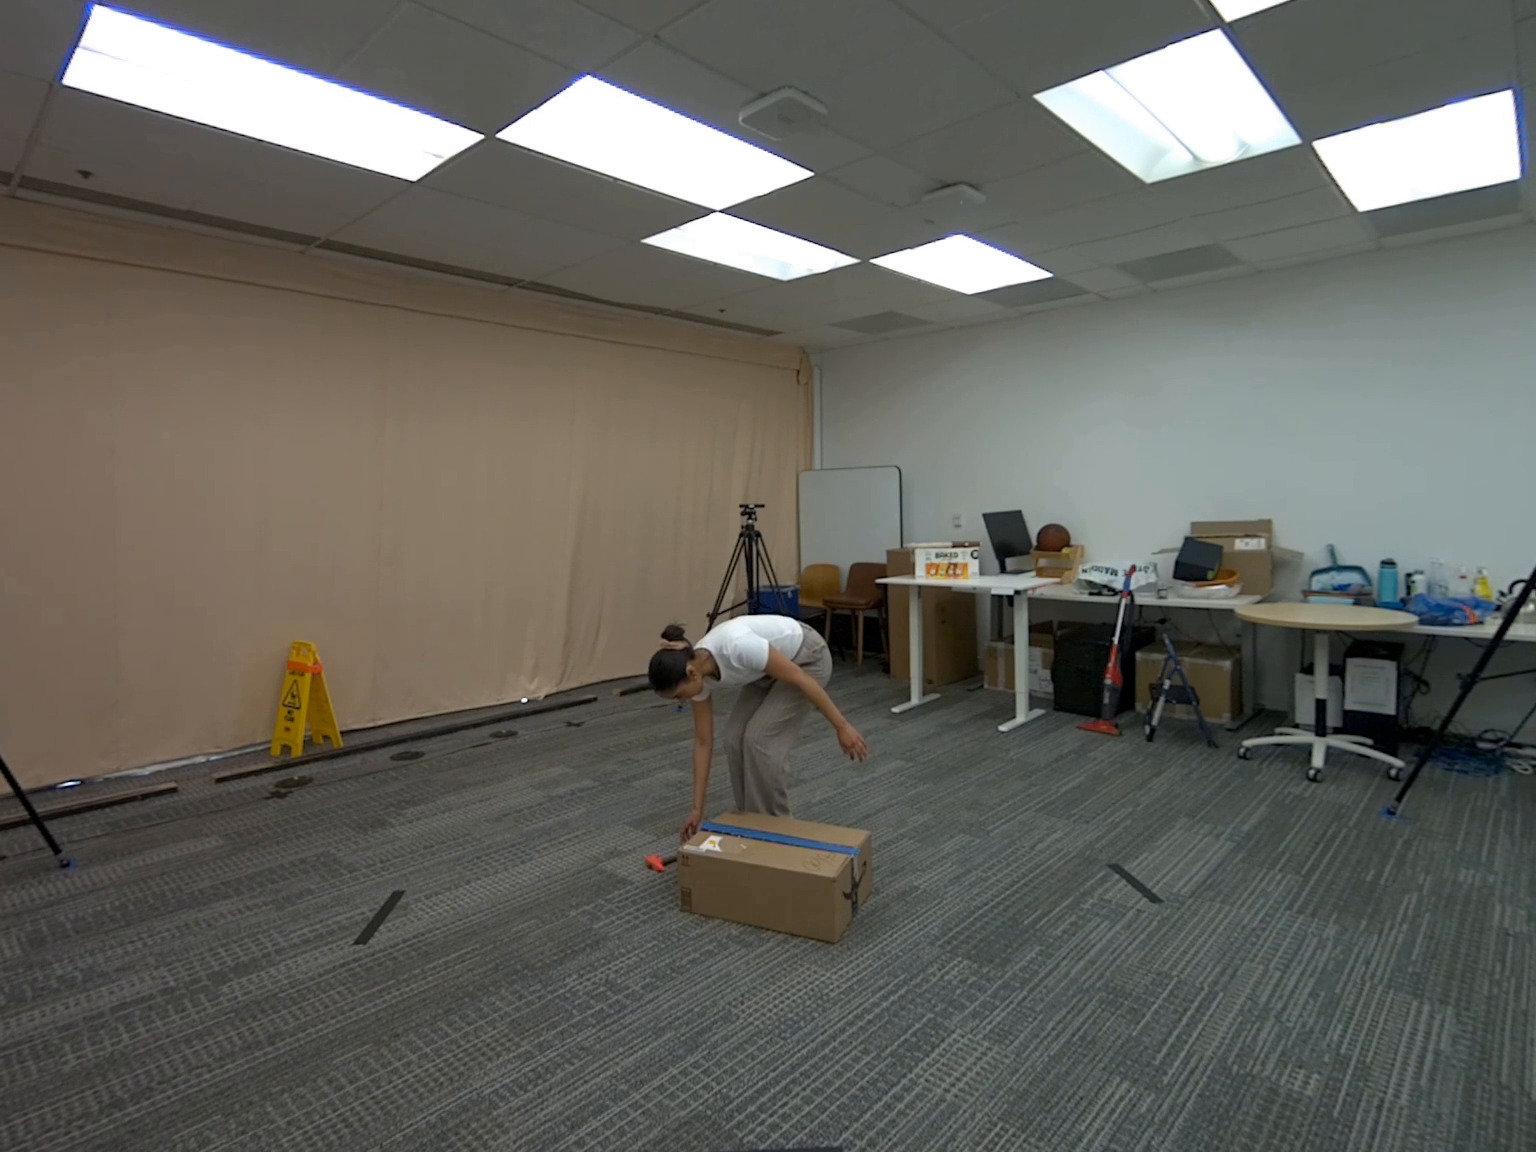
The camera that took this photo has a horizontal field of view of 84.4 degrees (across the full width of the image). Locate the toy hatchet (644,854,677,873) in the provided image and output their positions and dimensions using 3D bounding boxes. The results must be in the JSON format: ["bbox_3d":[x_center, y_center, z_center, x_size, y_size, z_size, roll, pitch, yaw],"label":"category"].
[{"bbox_3d":[-0.387,1.107,3.335,0.135,0.029,0.262,1,4,33],"label":"toy hatchet"}]
